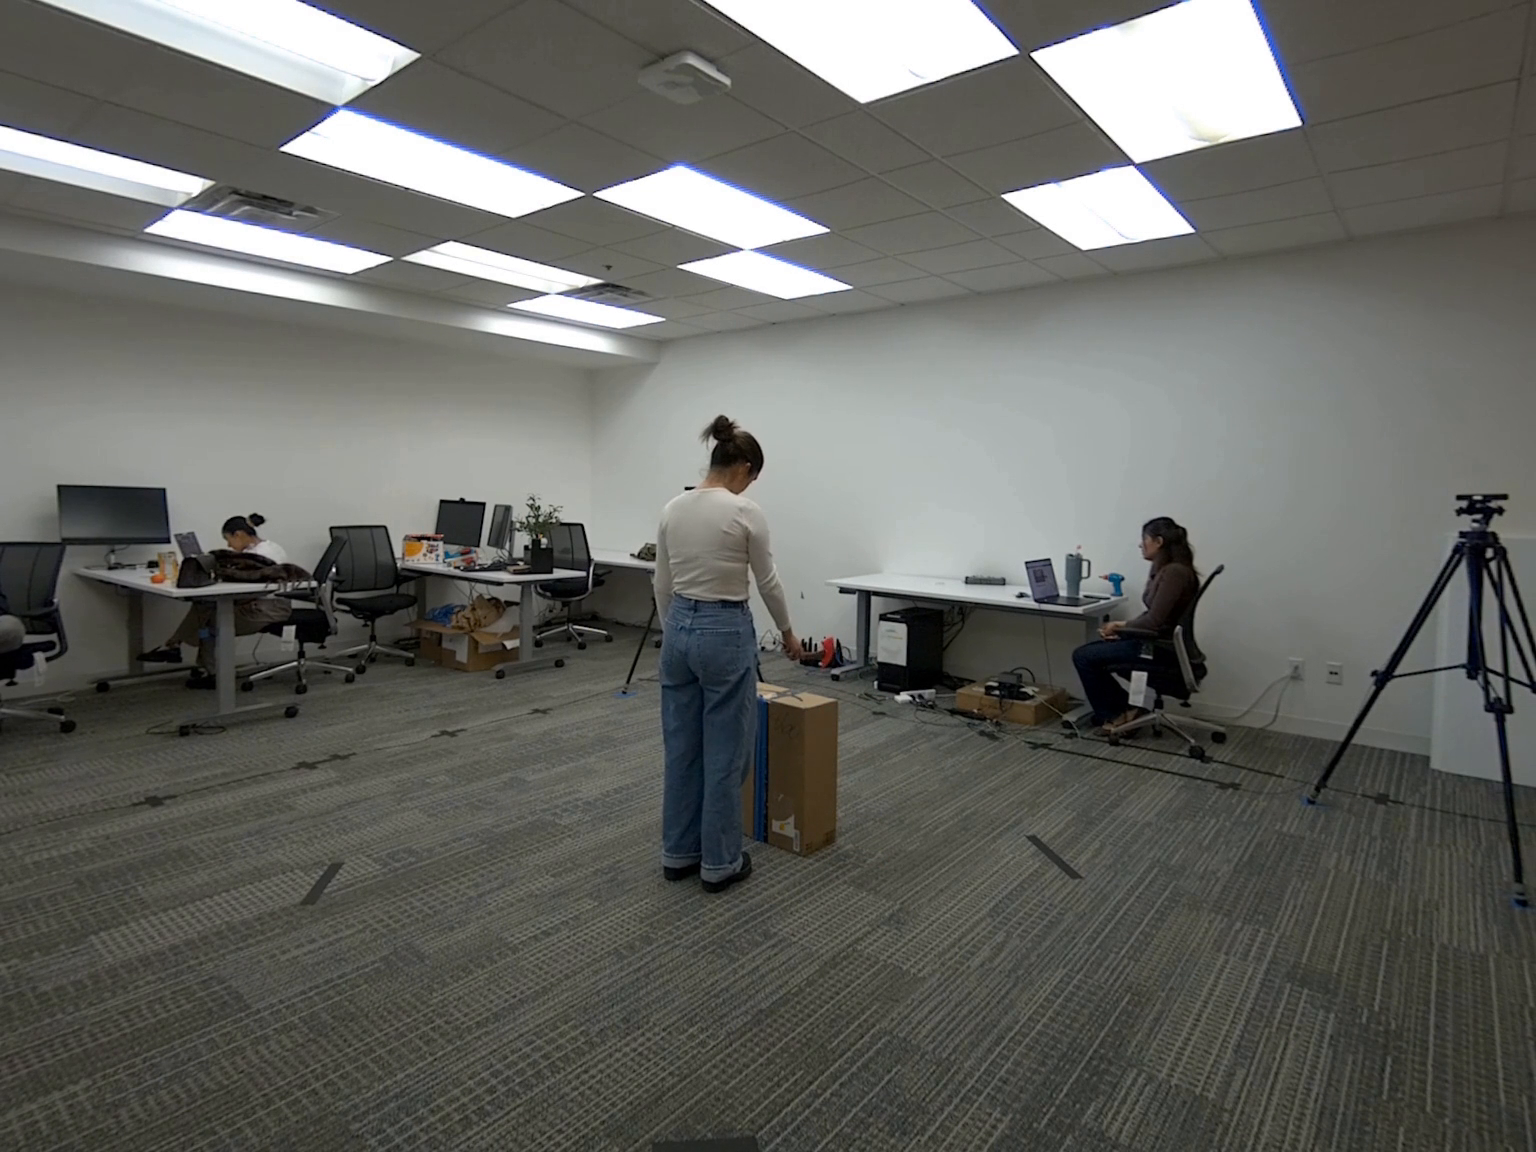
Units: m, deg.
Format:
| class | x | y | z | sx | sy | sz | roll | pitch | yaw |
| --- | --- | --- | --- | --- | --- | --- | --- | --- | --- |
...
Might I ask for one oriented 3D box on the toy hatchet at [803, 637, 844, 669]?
| class | x | y | z | sx | sy | sz | roll | pitch | yaw |
| --- | --- | --- | --- | --- | --- | --- | --- | --- | --- |
| toy hatchet | 0.160 | 0.272 | 3.223 | 0.031 | 0.131 | 0.259 | 30 | 3 | 39 |
